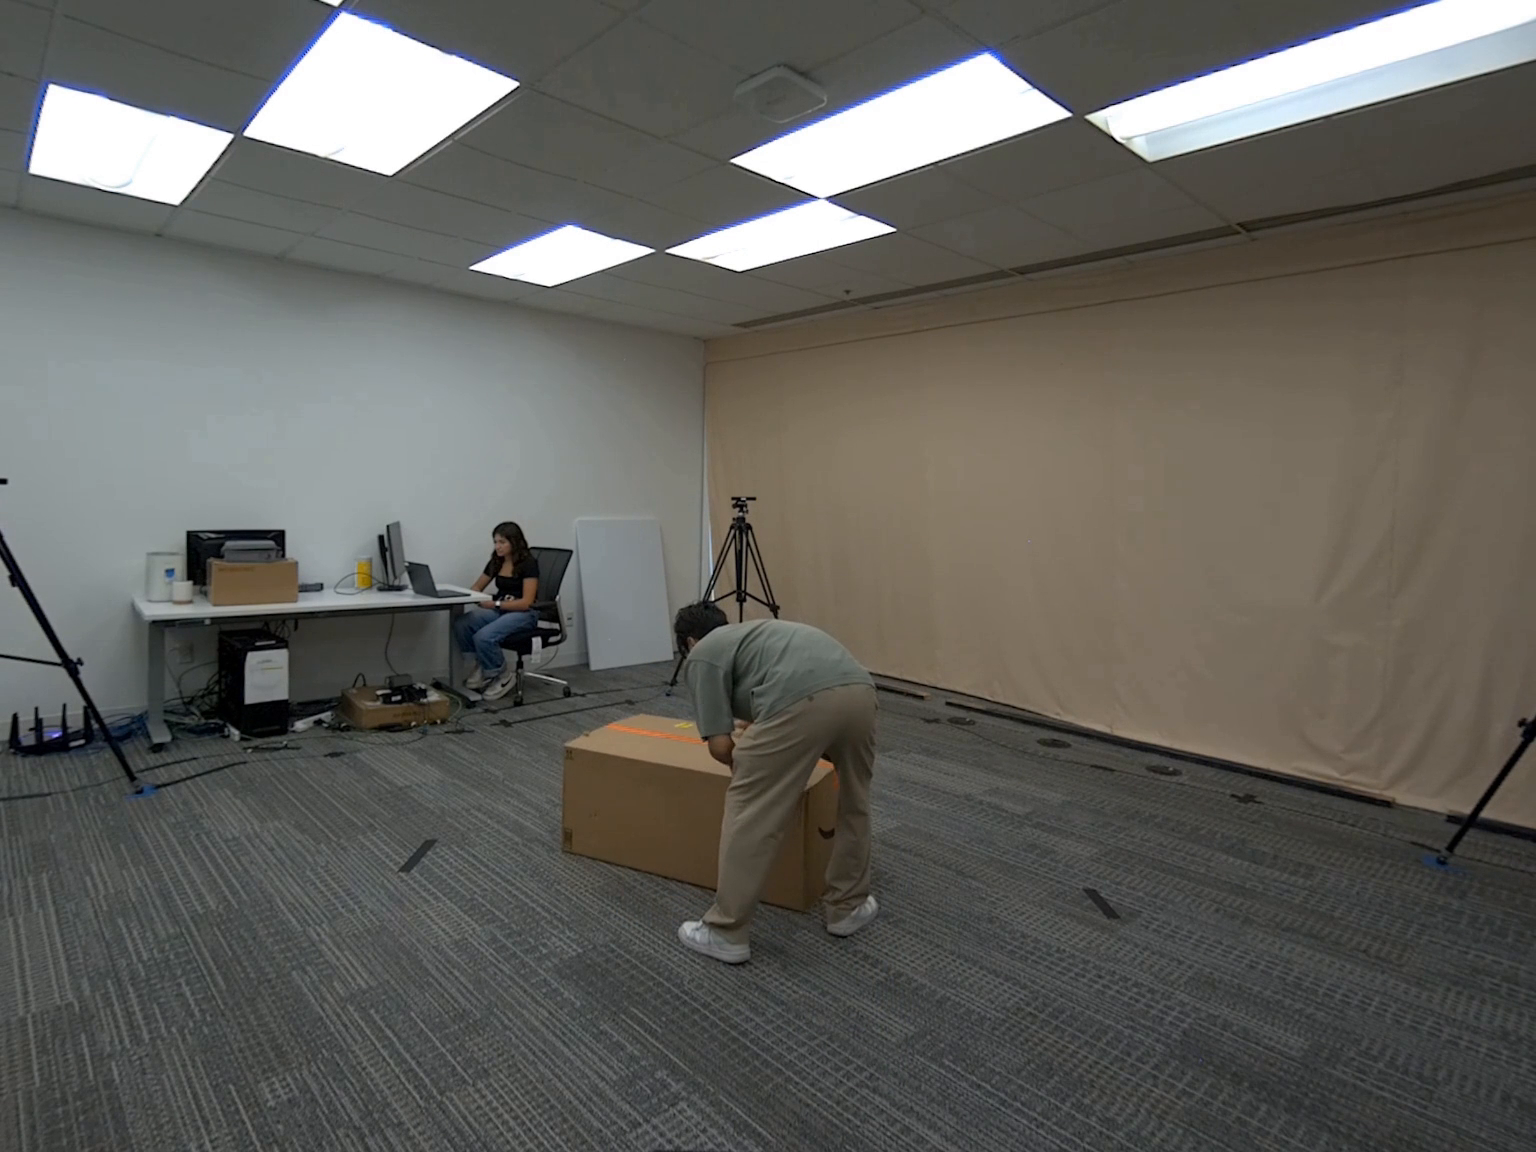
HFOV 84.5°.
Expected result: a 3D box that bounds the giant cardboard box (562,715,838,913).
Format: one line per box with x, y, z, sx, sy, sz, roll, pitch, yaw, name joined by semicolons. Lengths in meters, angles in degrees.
-0.227;0.871;3.298;1.046;0.425;0.568;4;6;25;giant cardboard box
